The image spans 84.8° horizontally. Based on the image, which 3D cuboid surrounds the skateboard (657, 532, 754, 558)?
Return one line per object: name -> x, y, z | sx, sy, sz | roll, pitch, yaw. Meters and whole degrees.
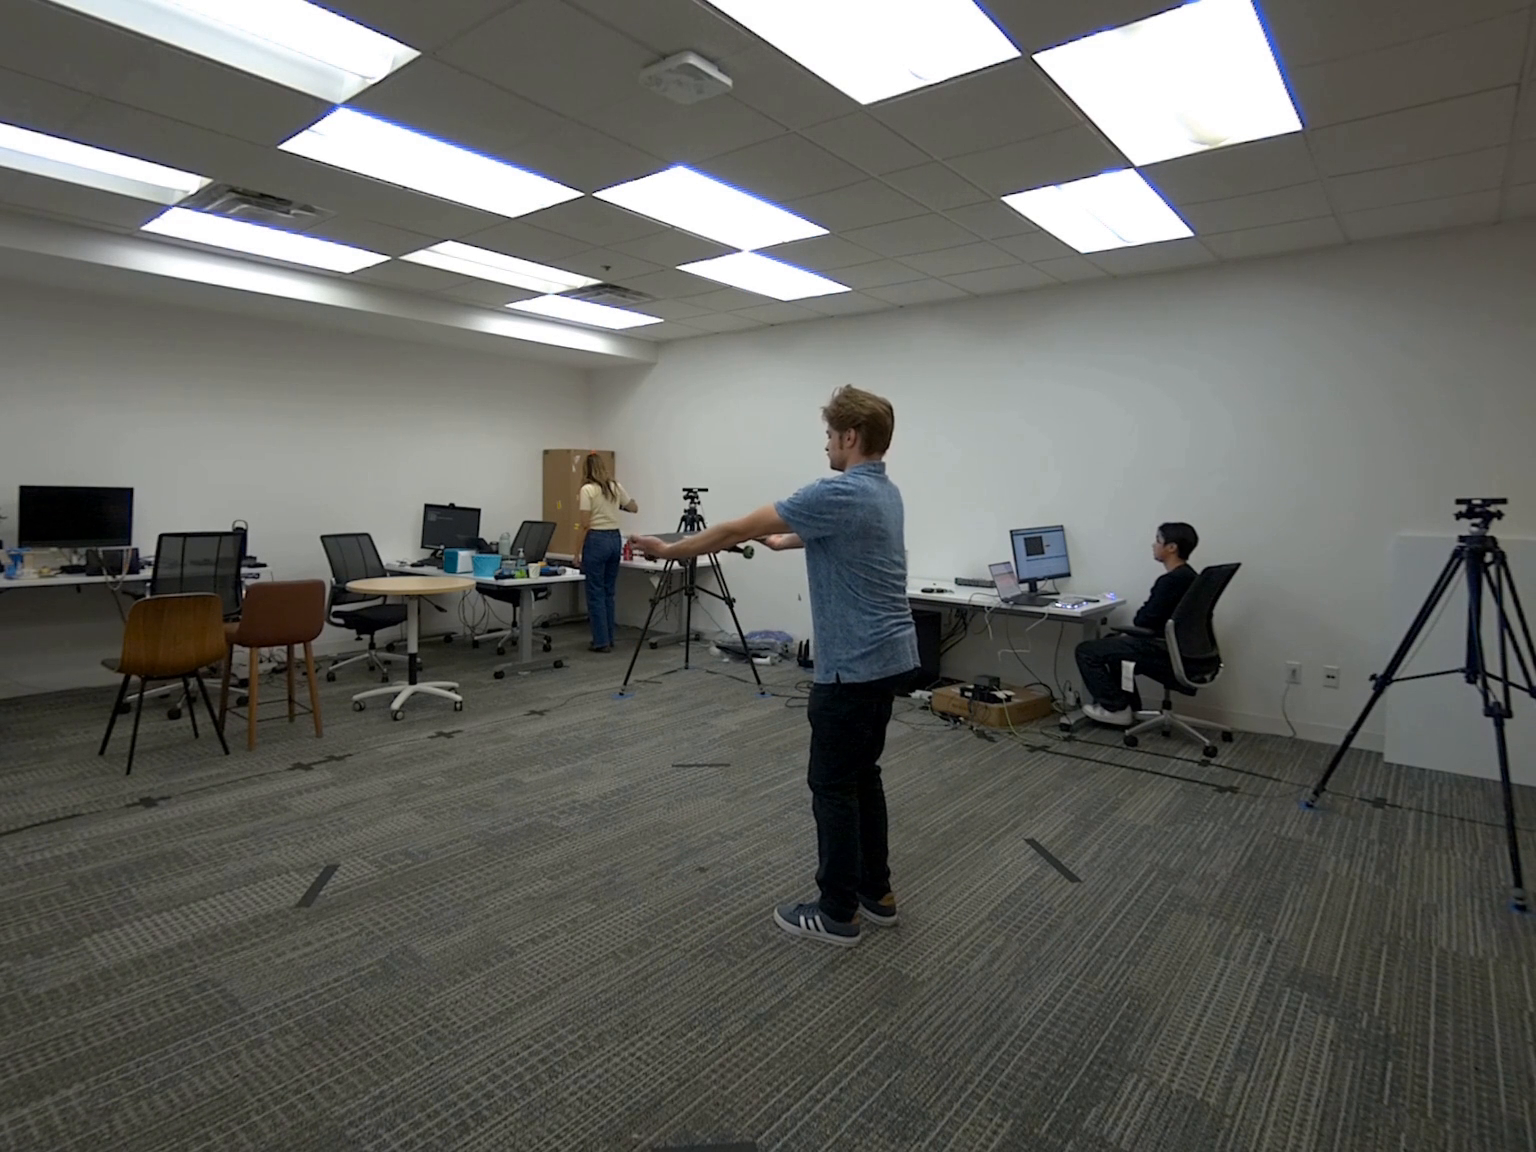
skateboard -> -0.228, -0.110, 3.094 | 0.200, 0.109, 0.765 | 13, 12, 32
